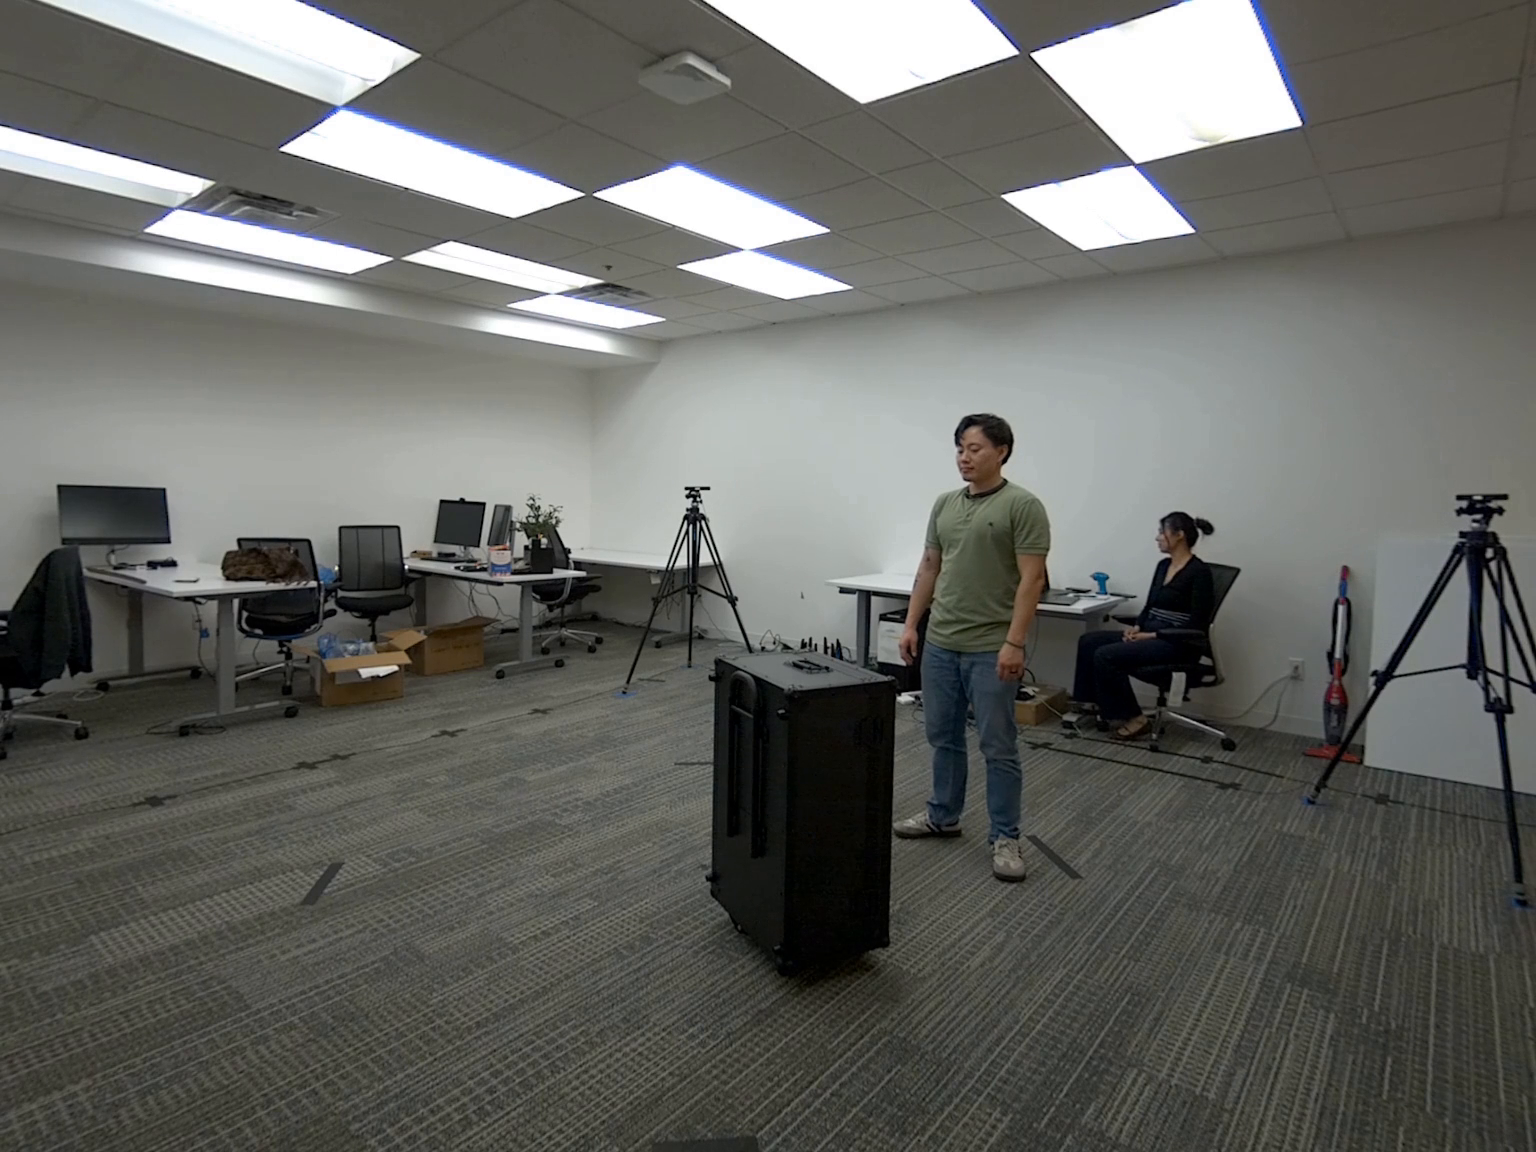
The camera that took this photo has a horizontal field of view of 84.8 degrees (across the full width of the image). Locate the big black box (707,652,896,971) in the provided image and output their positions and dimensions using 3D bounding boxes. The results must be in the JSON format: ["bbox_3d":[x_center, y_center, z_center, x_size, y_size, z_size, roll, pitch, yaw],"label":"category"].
[{"bbox_3d":[0.077,0.699,2.574,0.386,0.858,0.537,-2,5,-28],"label":"big black box"}]
